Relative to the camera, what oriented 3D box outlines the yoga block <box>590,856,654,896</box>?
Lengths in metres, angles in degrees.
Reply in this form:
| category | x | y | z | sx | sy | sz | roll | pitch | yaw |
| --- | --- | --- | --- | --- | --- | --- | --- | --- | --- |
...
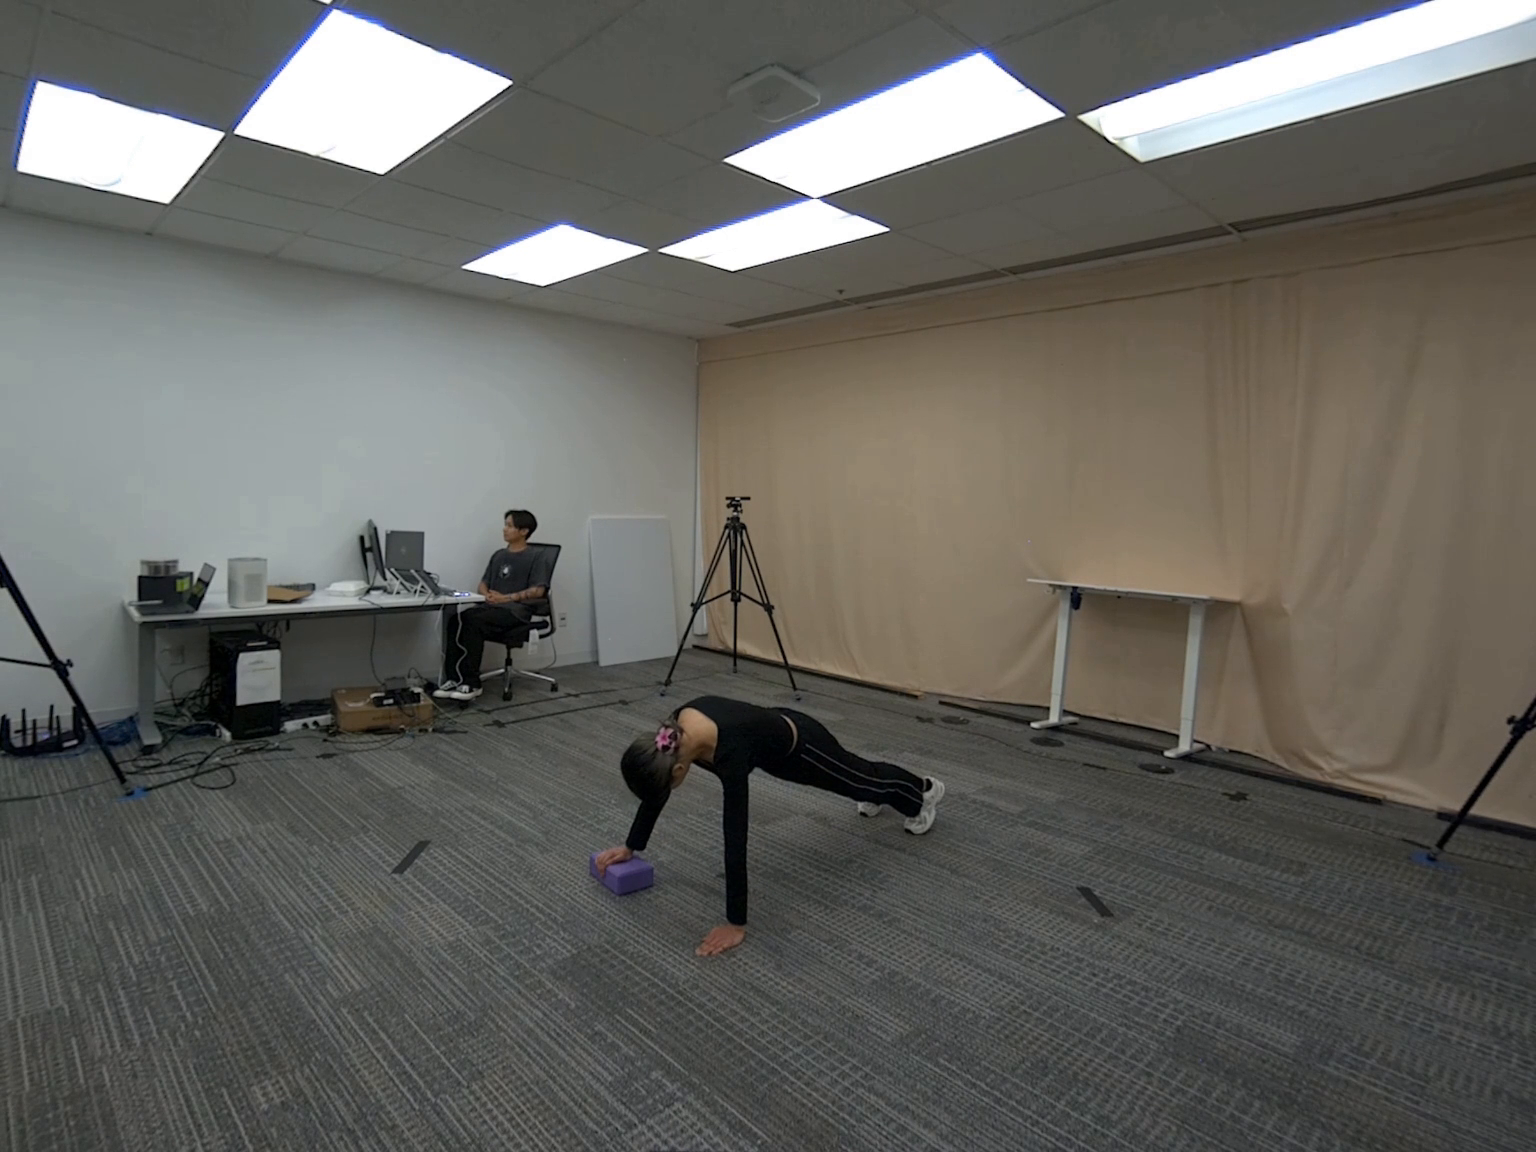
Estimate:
| category | x | y | z | sx | sy | sz | roll | pitch | yaw |
| --- | --- | --- | --- | --- | --- | --- | --- | --- | --- |
| yoga block | -0.536 | 1.066 | 3.049 | 0.146 | 0.076 | 0.235 | -3 | 5 | -37 |
